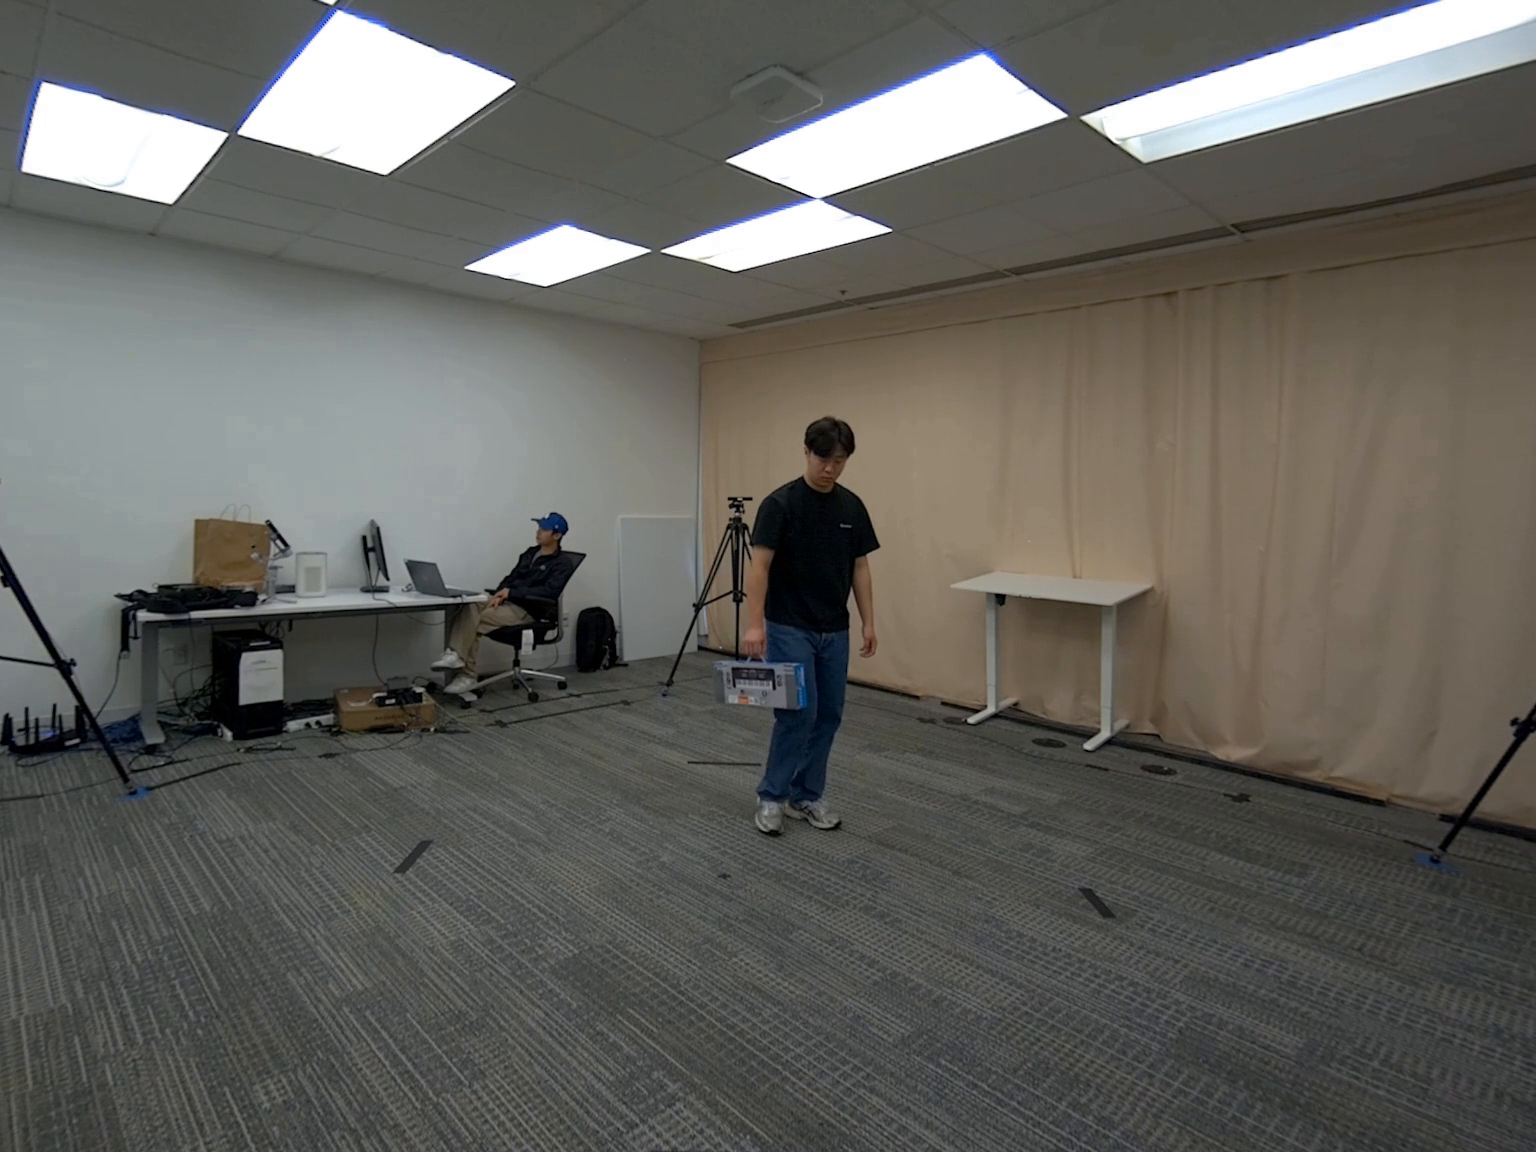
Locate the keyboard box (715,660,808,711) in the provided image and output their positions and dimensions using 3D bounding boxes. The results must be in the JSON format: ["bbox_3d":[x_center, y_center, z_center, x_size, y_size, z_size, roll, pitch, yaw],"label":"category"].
[{"bbox_3d":[-0.044,0.442,3.410,0.446,0.176,0.058,-3,0,40],"label":"keyboard box"}]
